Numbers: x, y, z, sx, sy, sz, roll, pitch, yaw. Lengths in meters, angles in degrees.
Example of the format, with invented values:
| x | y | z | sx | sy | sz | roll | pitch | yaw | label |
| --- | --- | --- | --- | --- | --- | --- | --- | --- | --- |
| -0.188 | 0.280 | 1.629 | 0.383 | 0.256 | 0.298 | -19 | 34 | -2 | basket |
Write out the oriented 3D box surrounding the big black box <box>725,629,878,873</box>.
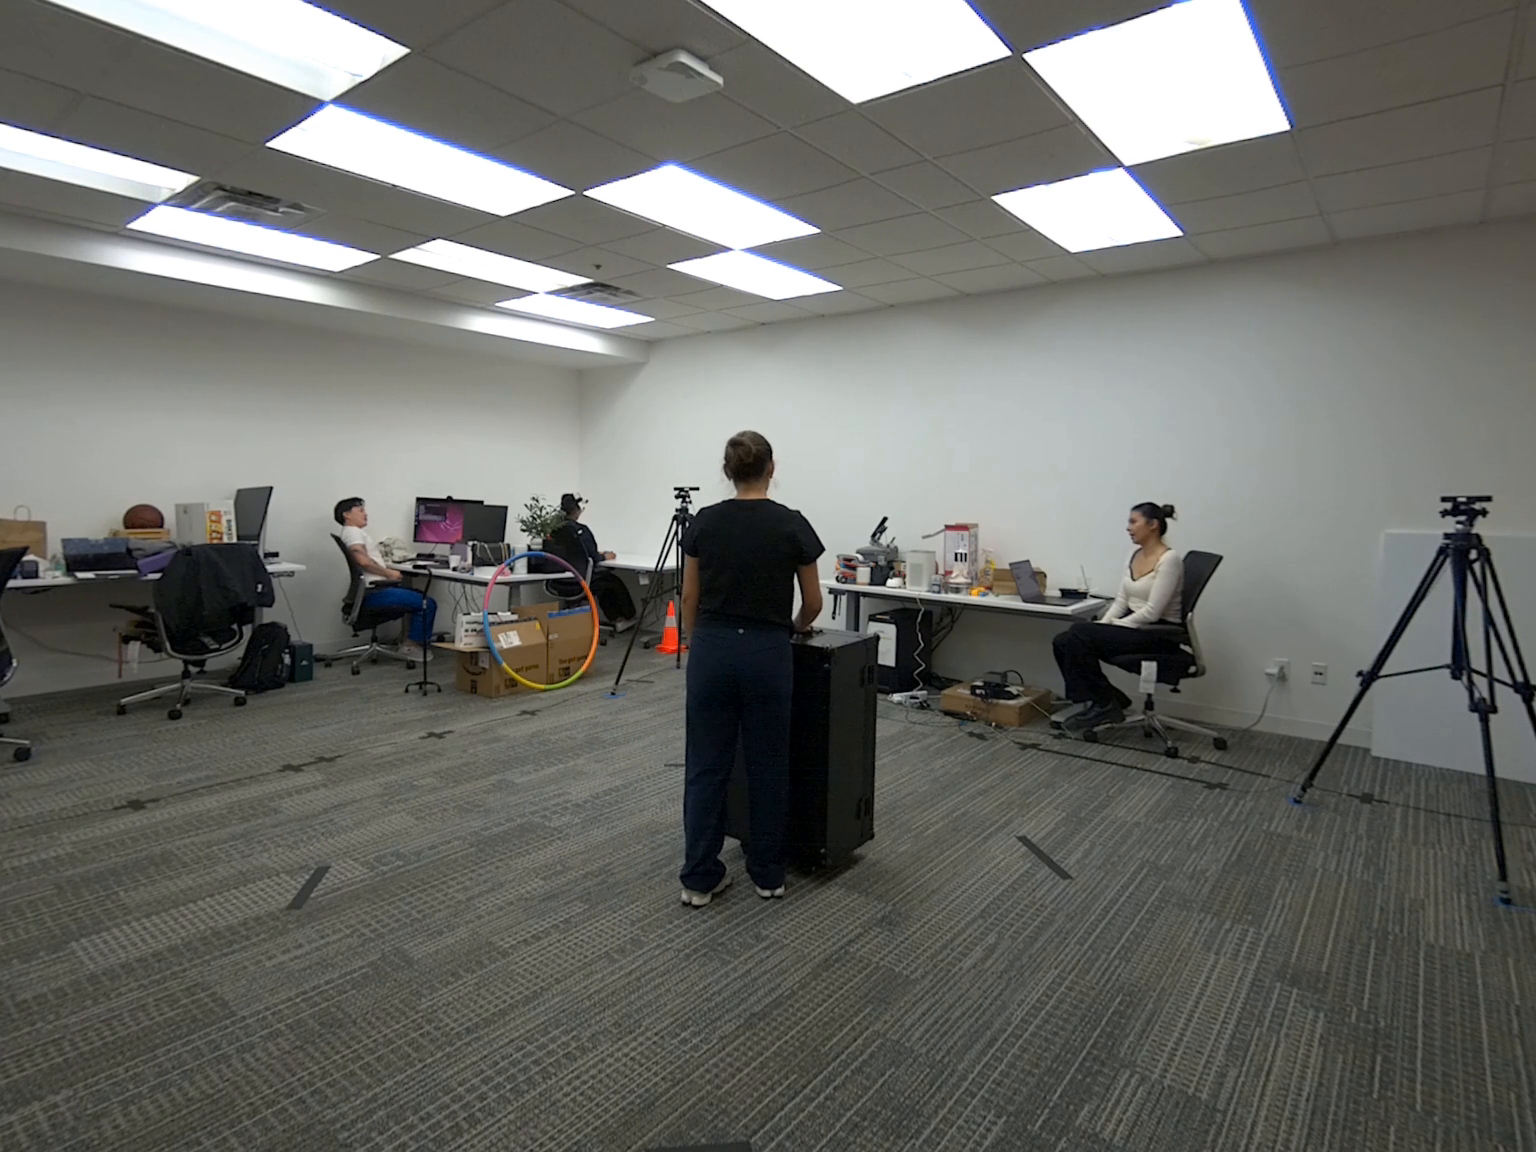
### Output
| x | y | z | sx | sy | sz | roll | pitch | yaw | label |
| --- | --- | --- | --- | --- | --- | --- | --- | --- | --- |
| 0.132 | 0.635 | 3.223 | 0.538 | 0.858 | 0.385 | 4 | 5 | 37 | big black box |
